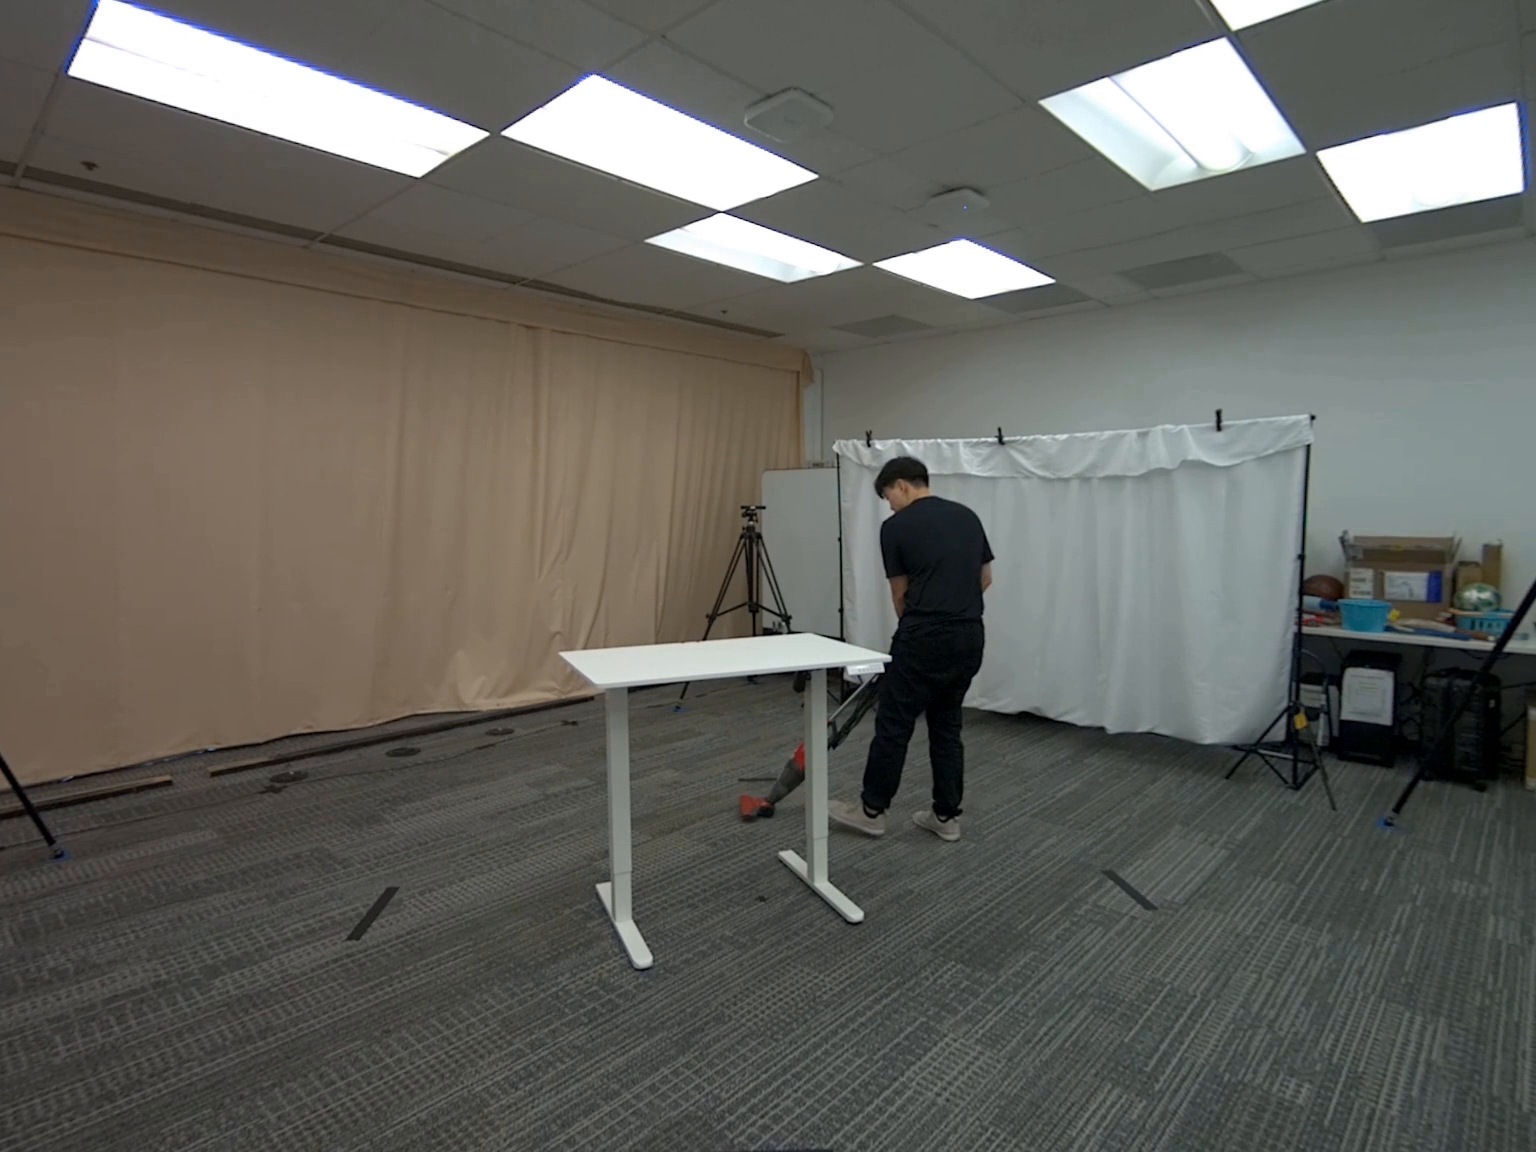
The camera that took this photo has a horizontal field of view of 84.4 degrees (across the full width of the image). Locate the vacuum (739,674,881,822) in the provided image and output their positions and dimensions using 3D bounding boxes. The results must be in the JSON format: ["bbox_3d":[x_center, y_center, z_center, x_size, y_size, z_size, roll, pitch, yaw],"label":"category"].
[{"bbox_3d":[0.303,0.688,3.820,0.143,1.049,0.253,45,1,-4],"label":"vacuum"}]
